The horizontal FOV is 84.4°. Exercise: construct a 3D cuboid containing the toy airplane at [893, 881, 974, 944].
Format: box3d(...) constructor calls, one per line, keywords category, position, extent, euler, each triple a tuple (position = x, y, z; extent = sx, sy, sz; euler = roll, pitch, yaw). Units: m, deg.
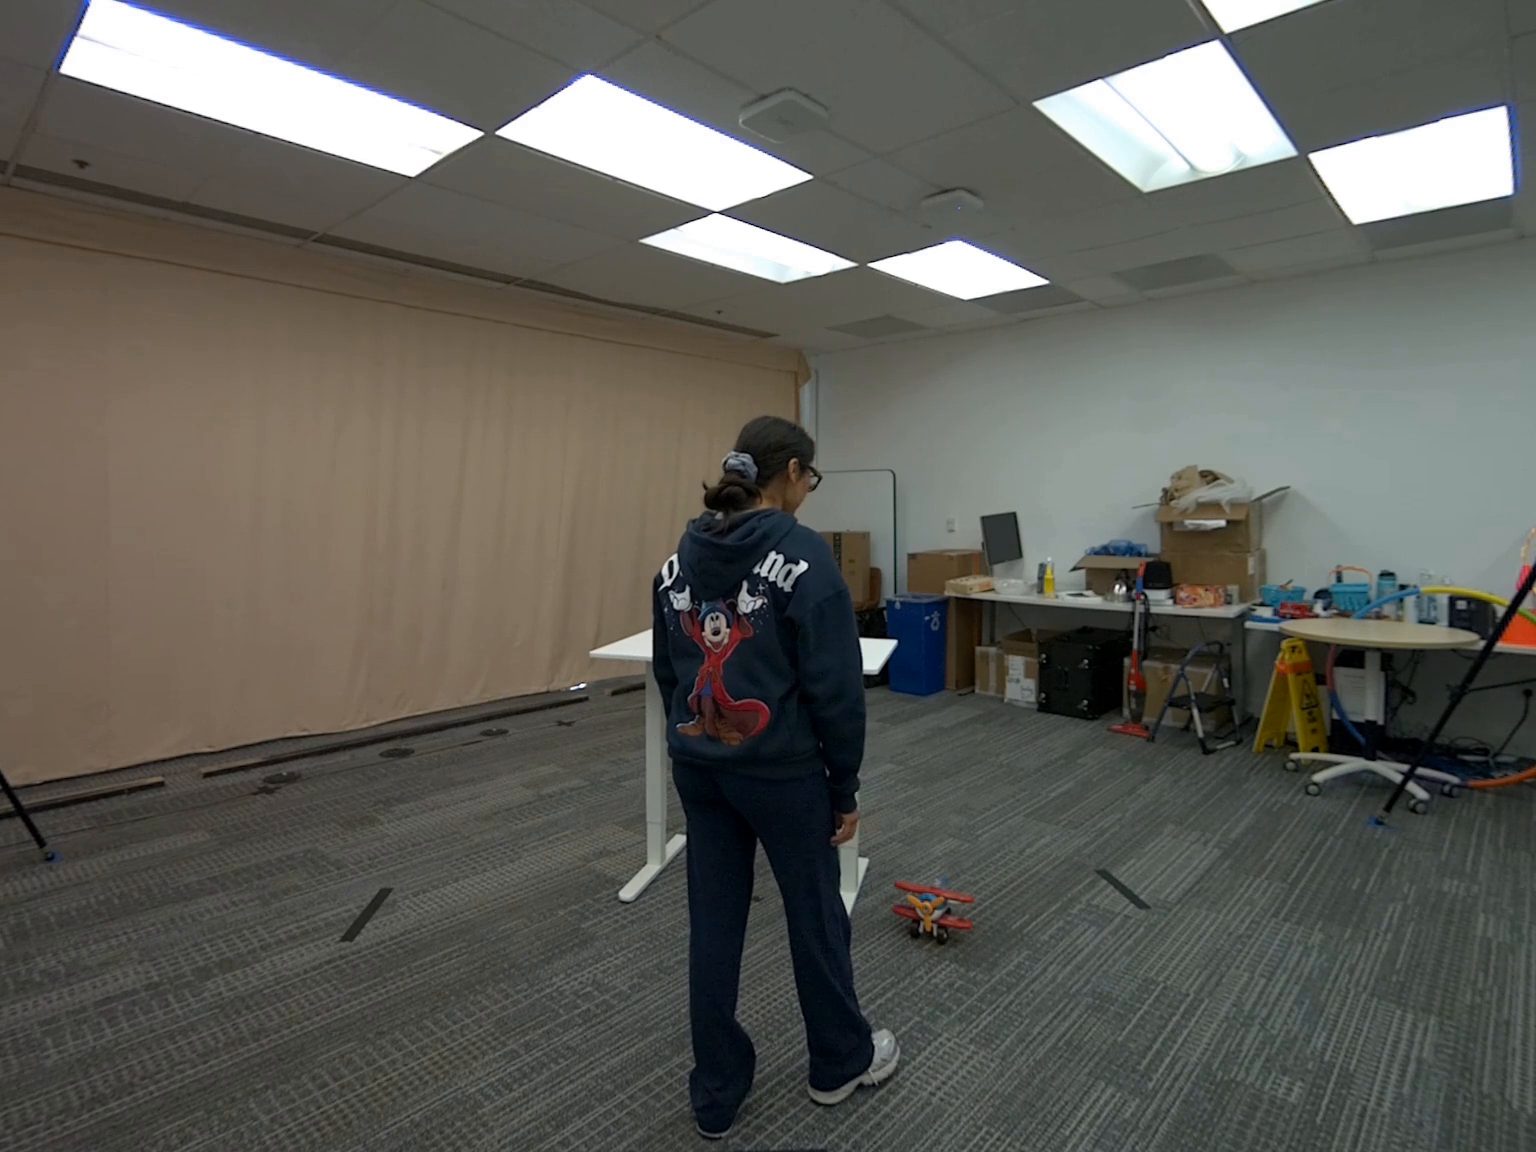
box3d(category="toy airplane", position=(0.555, 1.080, 2.770), extent=(0.251, 0.156, 0.260), euler=(-1, 5, -2))
